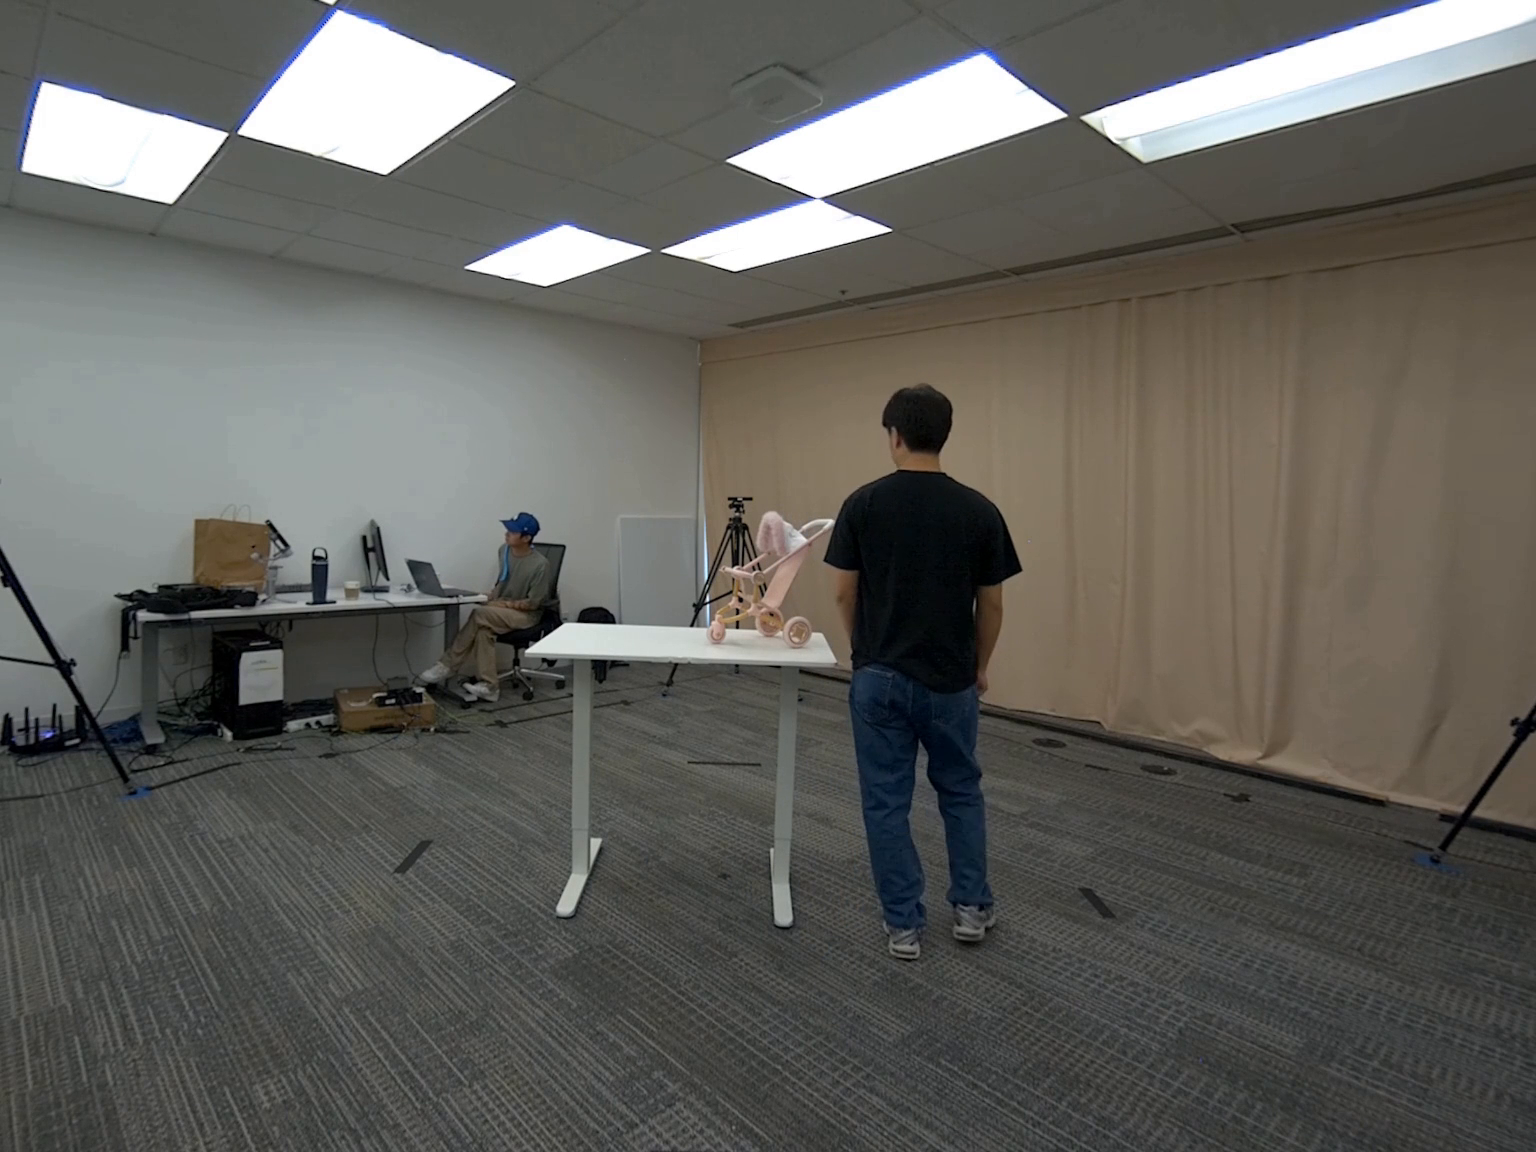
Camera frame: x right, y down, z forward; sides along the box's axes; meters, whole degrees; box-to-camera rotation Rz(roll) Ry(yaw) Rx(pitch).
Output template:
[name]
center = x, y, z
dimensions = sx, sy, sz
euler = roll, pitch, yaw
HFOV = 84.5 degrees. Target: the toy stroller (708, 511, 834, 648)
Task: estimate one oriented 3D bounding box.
[toy stroller]
center = -0.011, 0.014, 2.992
dimensions = 0.336, 0.535, 0.285
euler = 15, -1, -17
